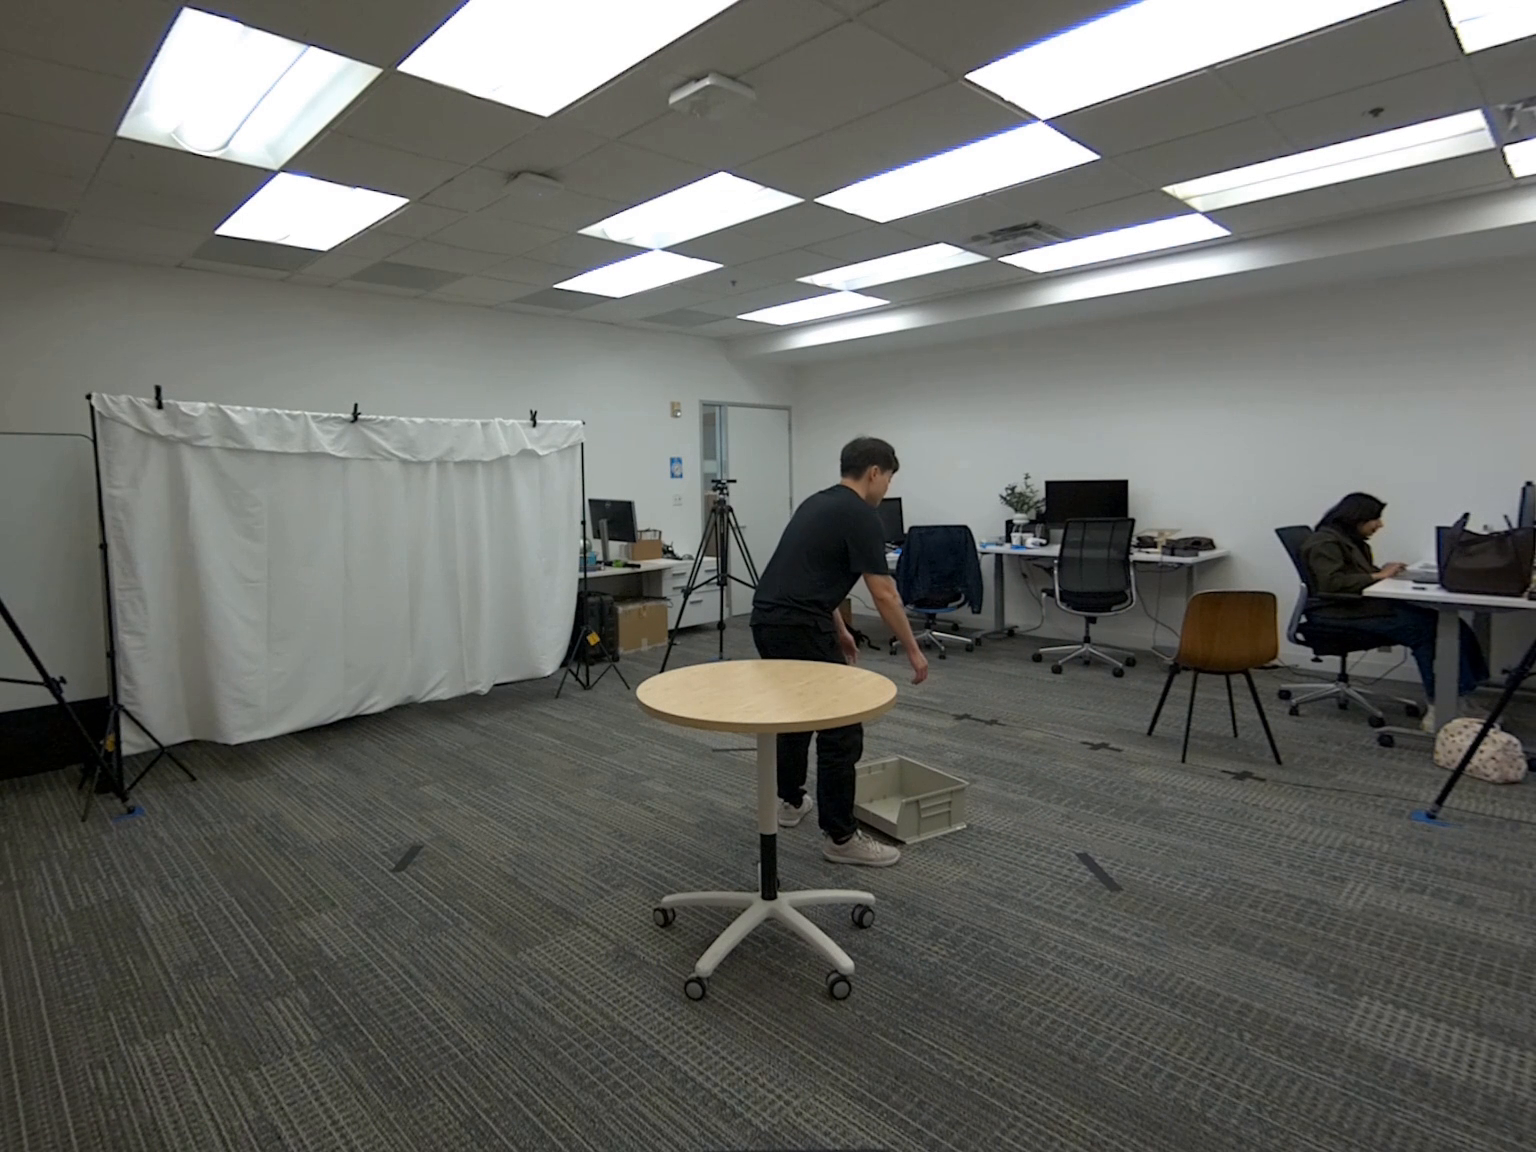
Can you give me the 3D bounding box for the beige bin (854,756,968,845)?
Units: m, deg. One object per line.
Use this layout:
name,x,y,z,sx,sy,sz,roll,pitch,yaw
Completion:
beige bin,0.536,0.908,3.483,0.368,0.188,0.434,-4,6,-31
